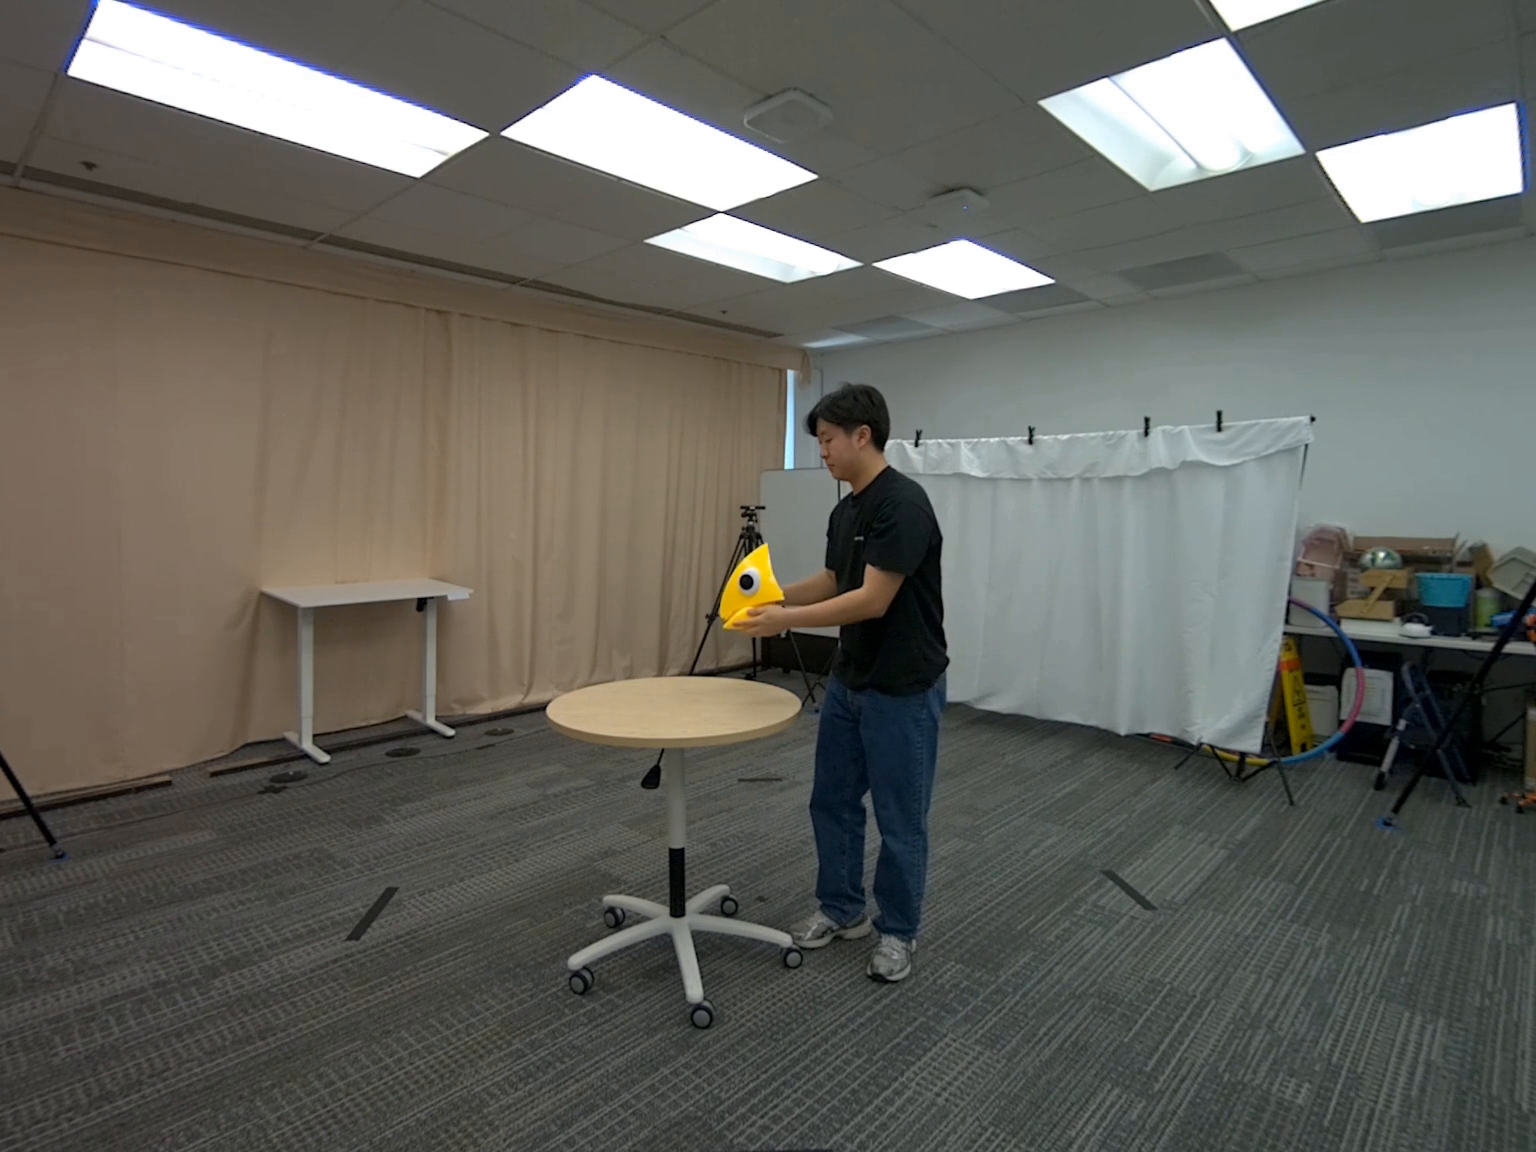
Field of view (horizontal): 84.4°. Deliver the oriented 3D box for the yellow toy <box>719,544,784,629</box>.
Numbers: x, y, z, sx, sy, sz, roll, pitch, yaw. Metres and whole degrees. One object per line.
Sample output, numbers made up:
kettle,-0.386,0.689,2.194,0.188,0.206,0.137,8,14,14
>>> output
yellow toy,-0.050,0.018,2.515,0.192,0.229,0.207,-3,9,-4
